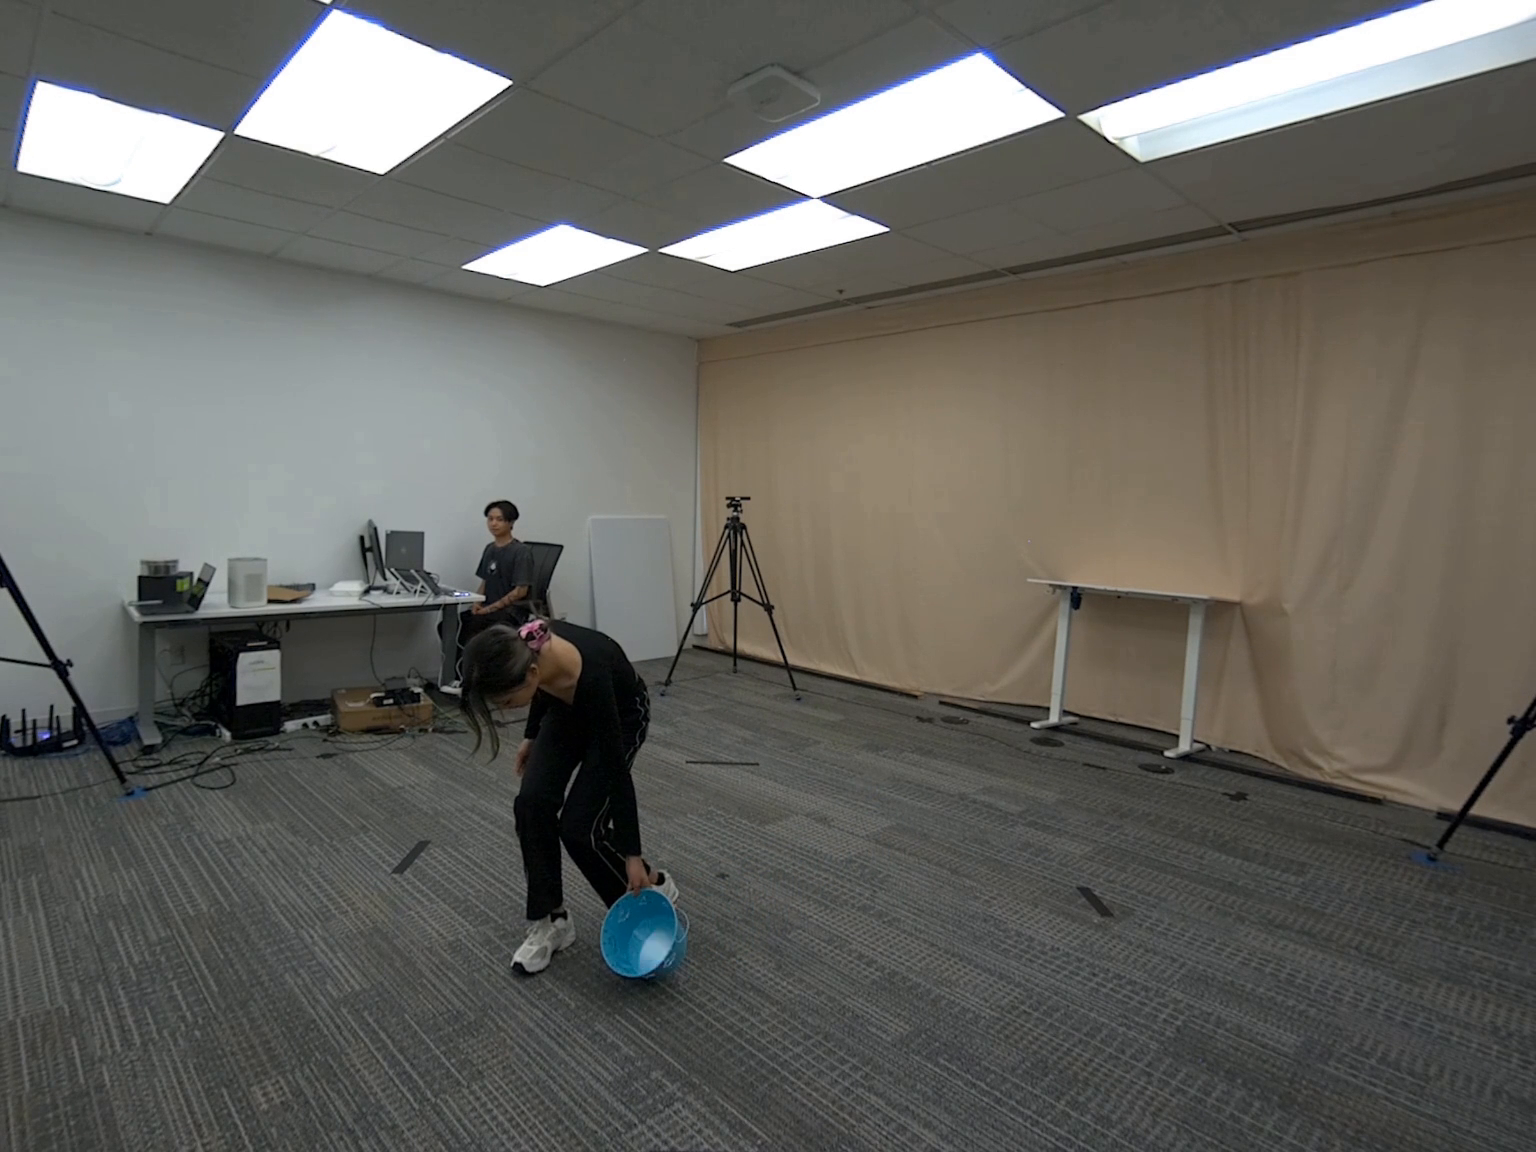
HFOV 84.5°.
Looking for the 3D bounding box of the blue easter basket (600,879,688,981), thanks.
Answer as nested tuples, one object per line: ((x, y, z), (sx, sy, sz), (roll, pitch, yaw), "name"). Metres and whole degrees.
((-0.354, 1.053, 2.393), (0.248, 0.247, 0.151), (3, -37, 21), "blue easter basket")
